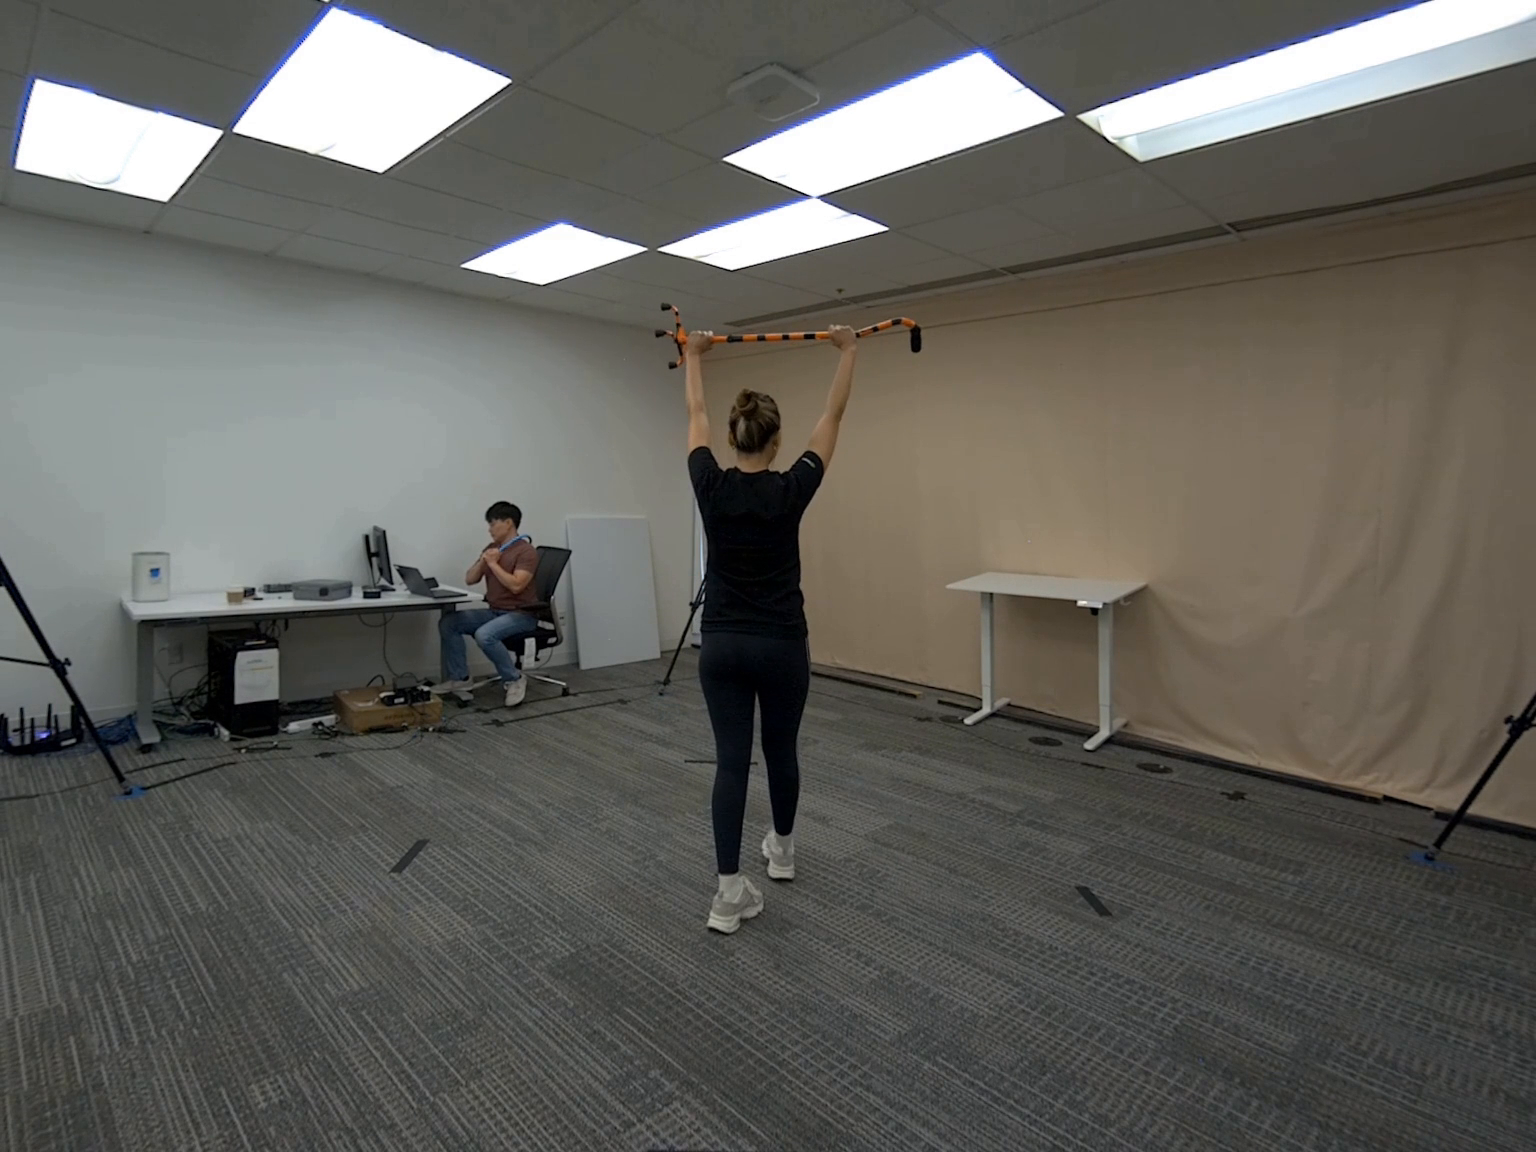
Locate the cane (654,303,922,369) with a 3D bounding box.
[{"bbox_3d":[0.070,-0.855,2.965,0.918,0.154,0.201,2,-25,14],"label":"cane"}]
